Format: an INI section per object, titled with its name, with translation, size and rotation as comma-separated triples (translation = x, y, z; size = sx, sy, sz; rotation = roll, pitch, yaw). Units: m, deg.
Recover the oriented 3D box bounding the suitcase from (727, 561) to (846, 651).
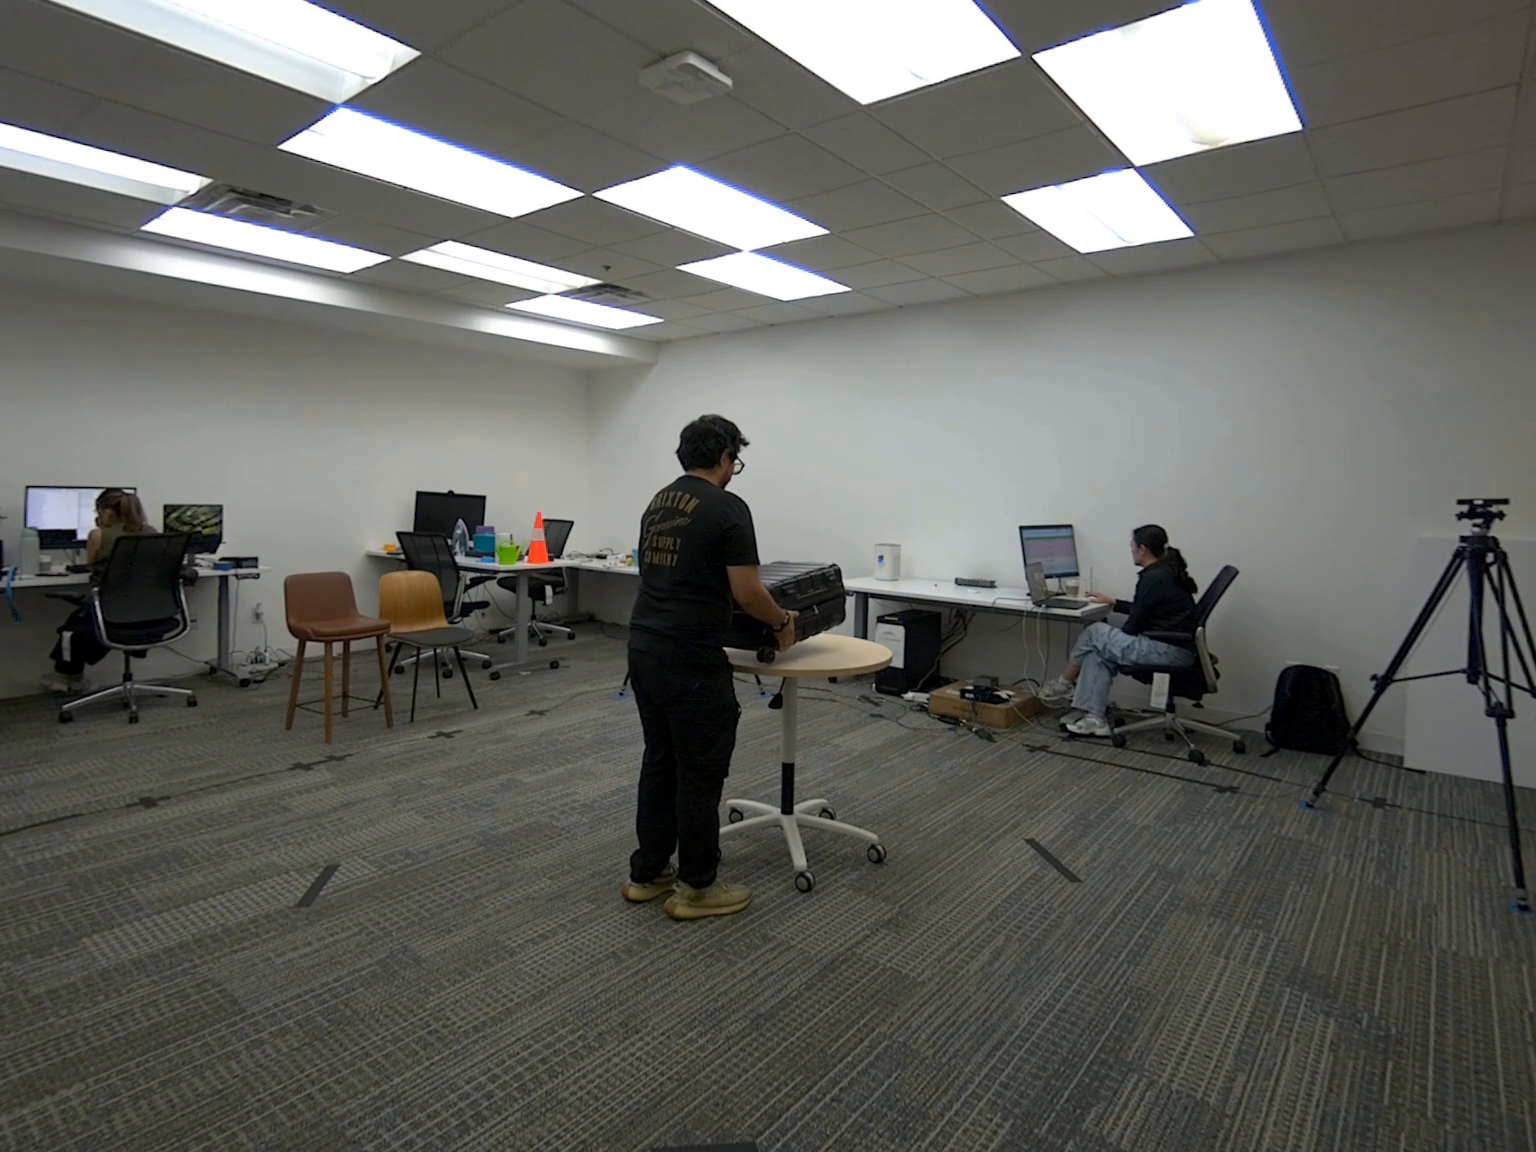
[suitcase]
translation = 0.021, 0.103, 3.186
size = 0.387, 0.246, 0.536
rotation = 1, 11, 41
